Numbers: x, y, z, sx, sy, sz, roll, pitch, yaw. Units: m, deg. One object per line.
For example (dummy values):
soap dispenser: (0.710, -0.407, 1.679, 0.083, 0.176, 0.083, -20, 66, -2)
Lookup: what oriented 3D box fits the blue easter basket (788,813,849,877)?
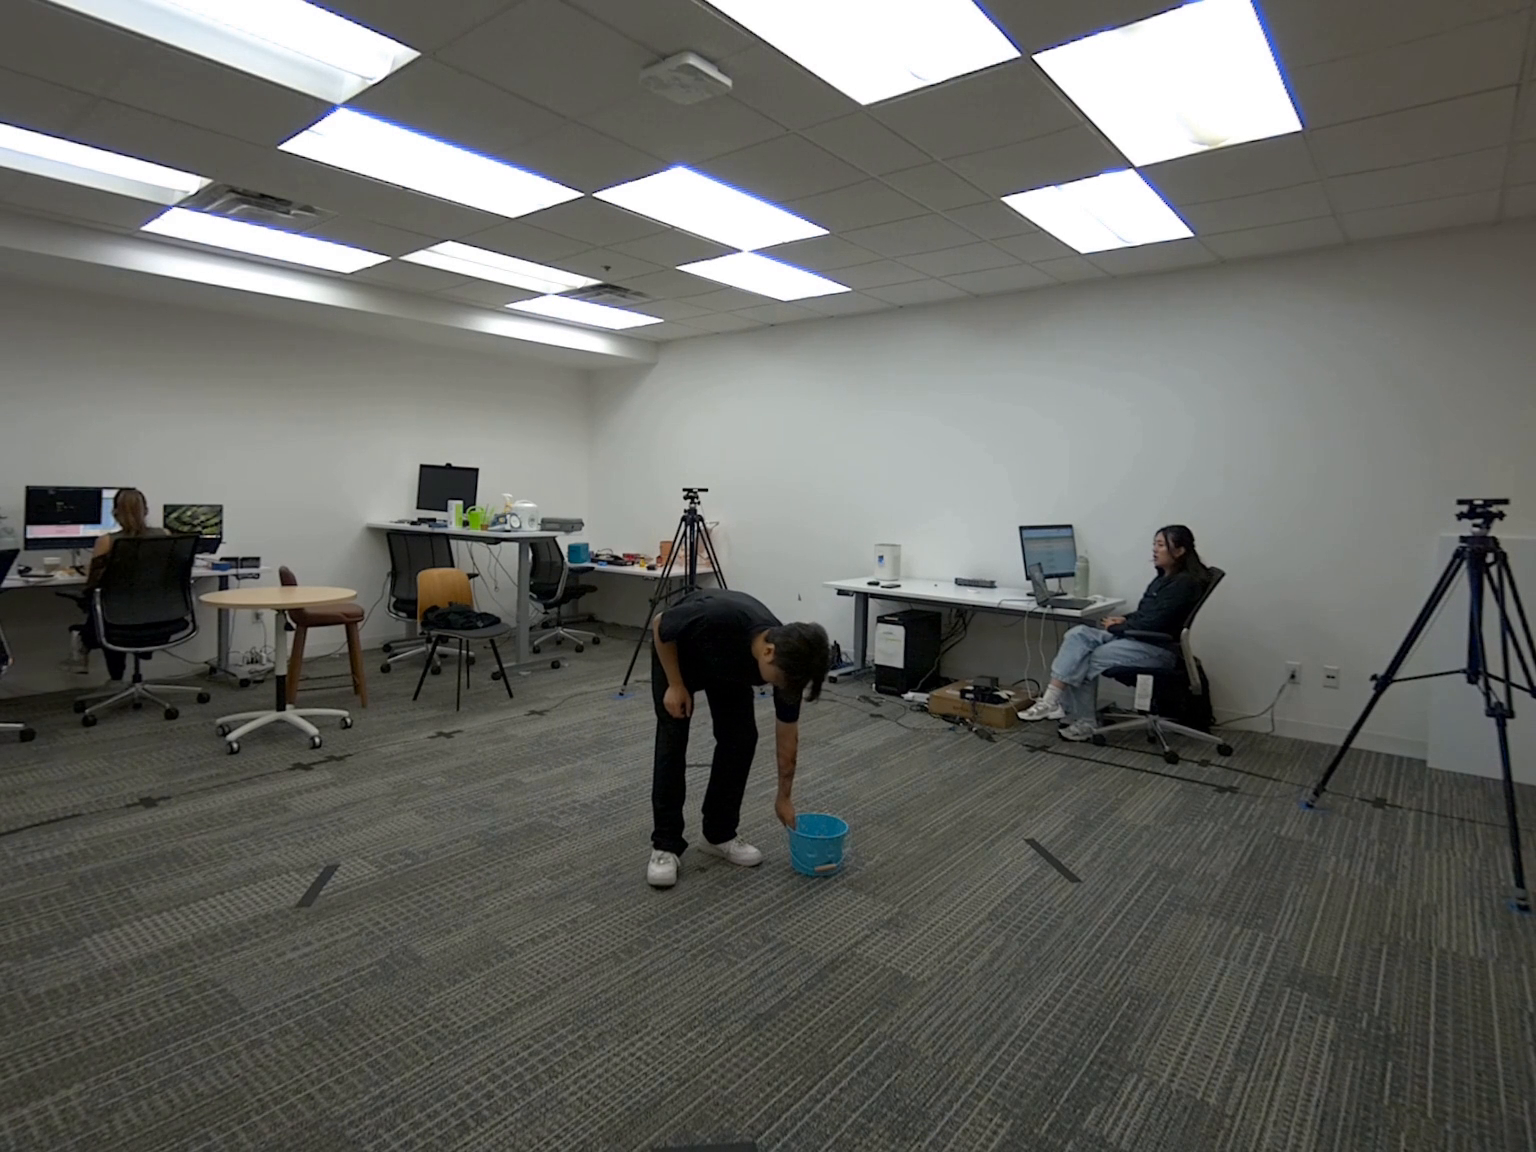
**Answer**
blue easter basket: (0.178, 0.997, 3.170, 0.243, 0.155, 0.245, 2, 4, -2)
